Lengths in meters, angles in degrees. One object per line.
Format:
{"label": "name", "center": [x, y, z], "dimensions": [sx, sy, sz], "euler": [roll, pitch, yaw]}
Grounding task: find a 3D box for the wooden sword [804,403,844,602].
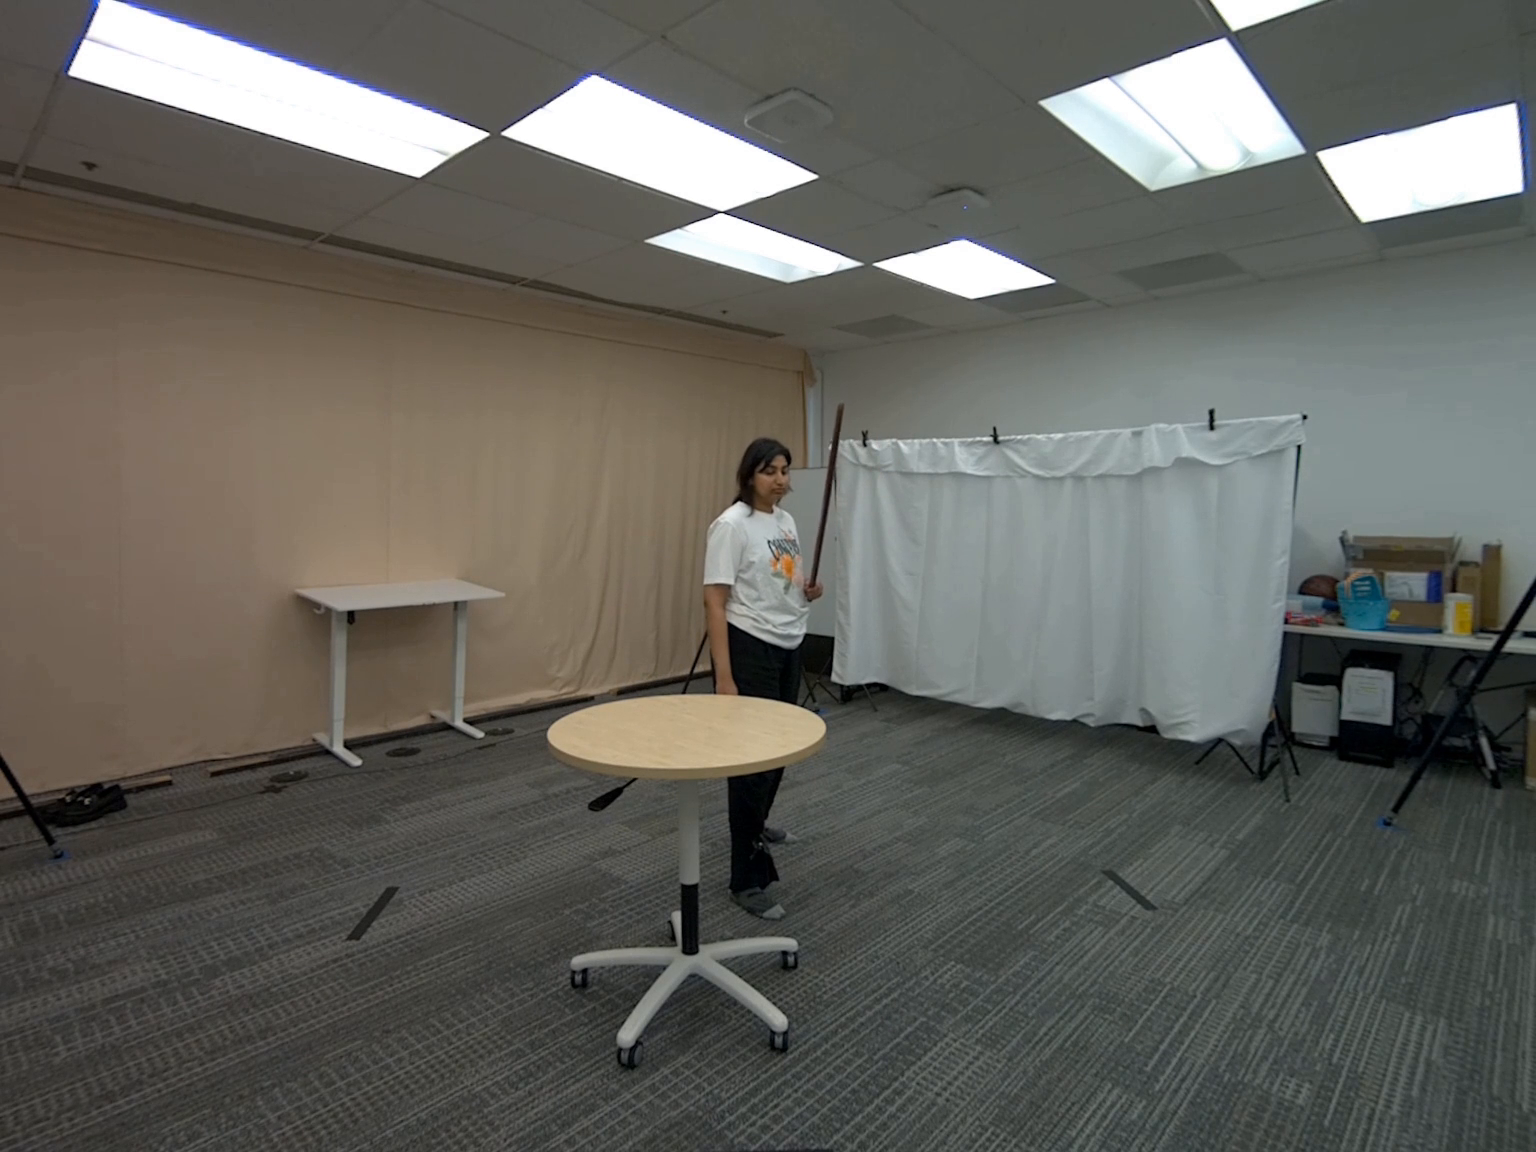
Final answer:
{"label": "wooden sword", "center": [0.194, -0.176, 2.825], "dimensions": [0.024, 0.051, 1.007], "euler": [22, -36, 14]}
